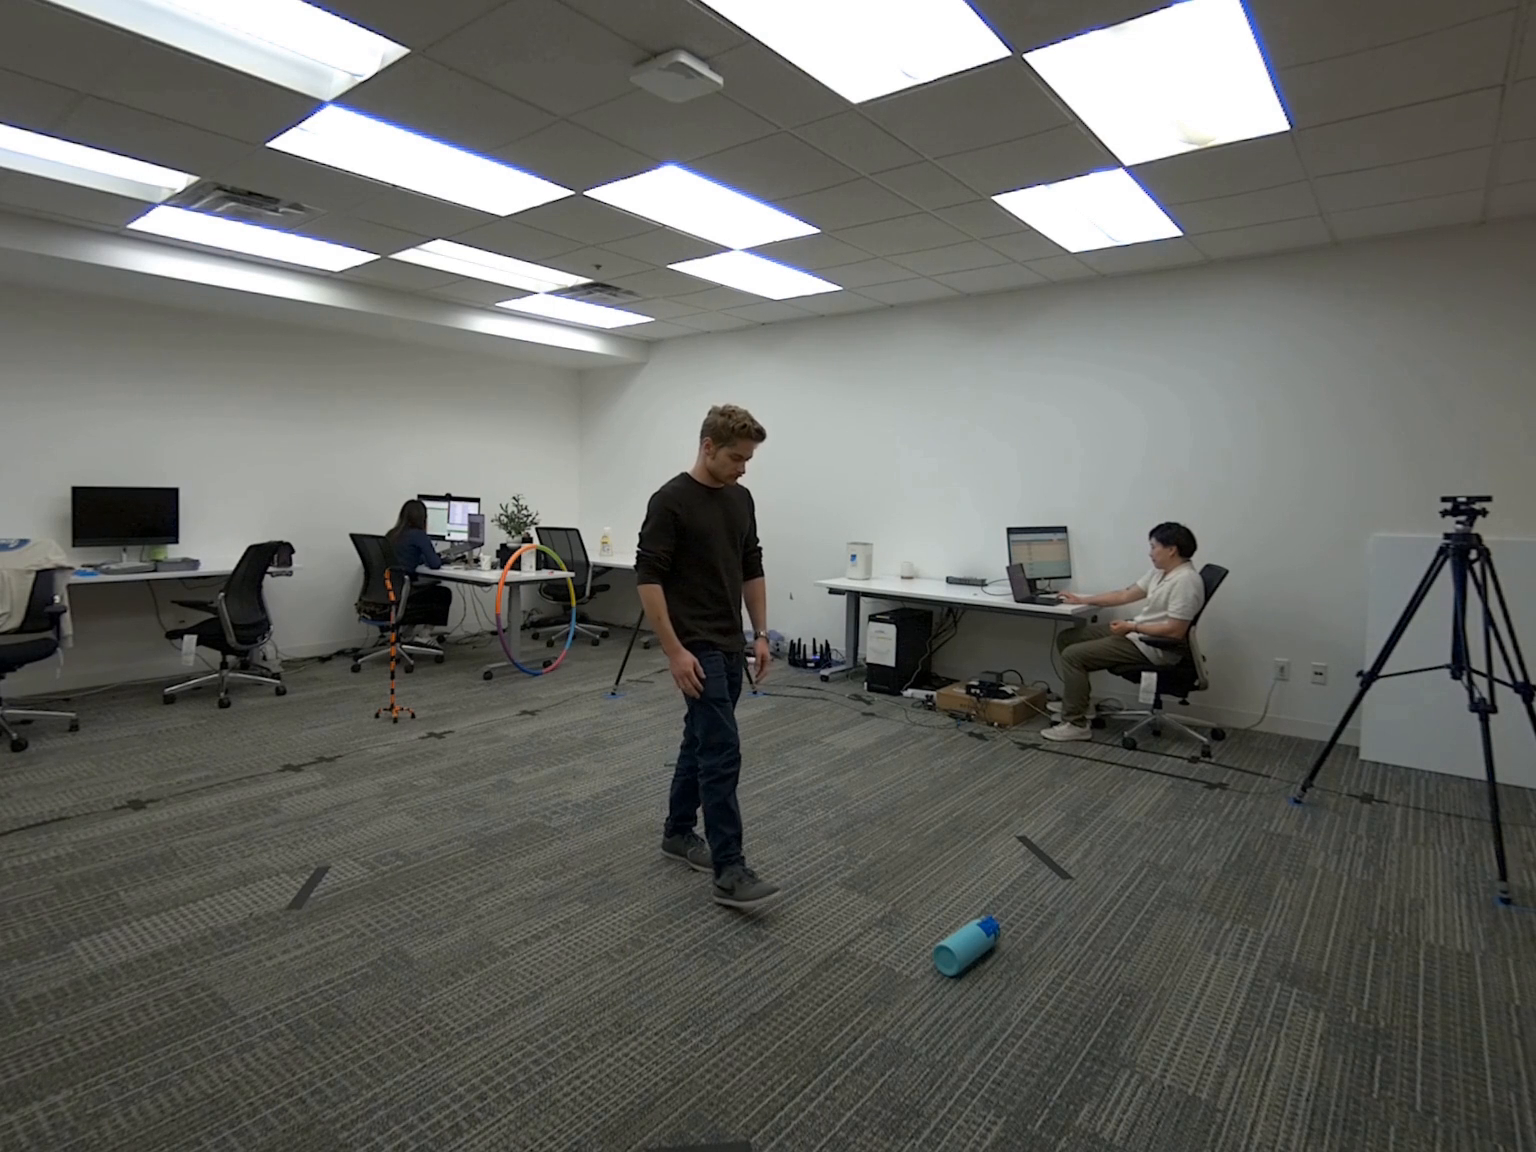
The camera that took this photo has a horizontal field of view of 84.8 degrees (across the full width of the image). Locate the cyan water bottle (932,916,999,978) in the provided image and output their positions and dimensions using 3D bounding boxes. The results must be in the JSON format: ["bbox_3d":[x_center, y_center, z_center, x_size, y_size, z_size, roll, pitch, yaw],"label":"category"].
[{"bbox_3d":[0.599,1.092,2.546,0.095,0.092,0.275,5,6,44],"label":"cyan water bottle"}]
